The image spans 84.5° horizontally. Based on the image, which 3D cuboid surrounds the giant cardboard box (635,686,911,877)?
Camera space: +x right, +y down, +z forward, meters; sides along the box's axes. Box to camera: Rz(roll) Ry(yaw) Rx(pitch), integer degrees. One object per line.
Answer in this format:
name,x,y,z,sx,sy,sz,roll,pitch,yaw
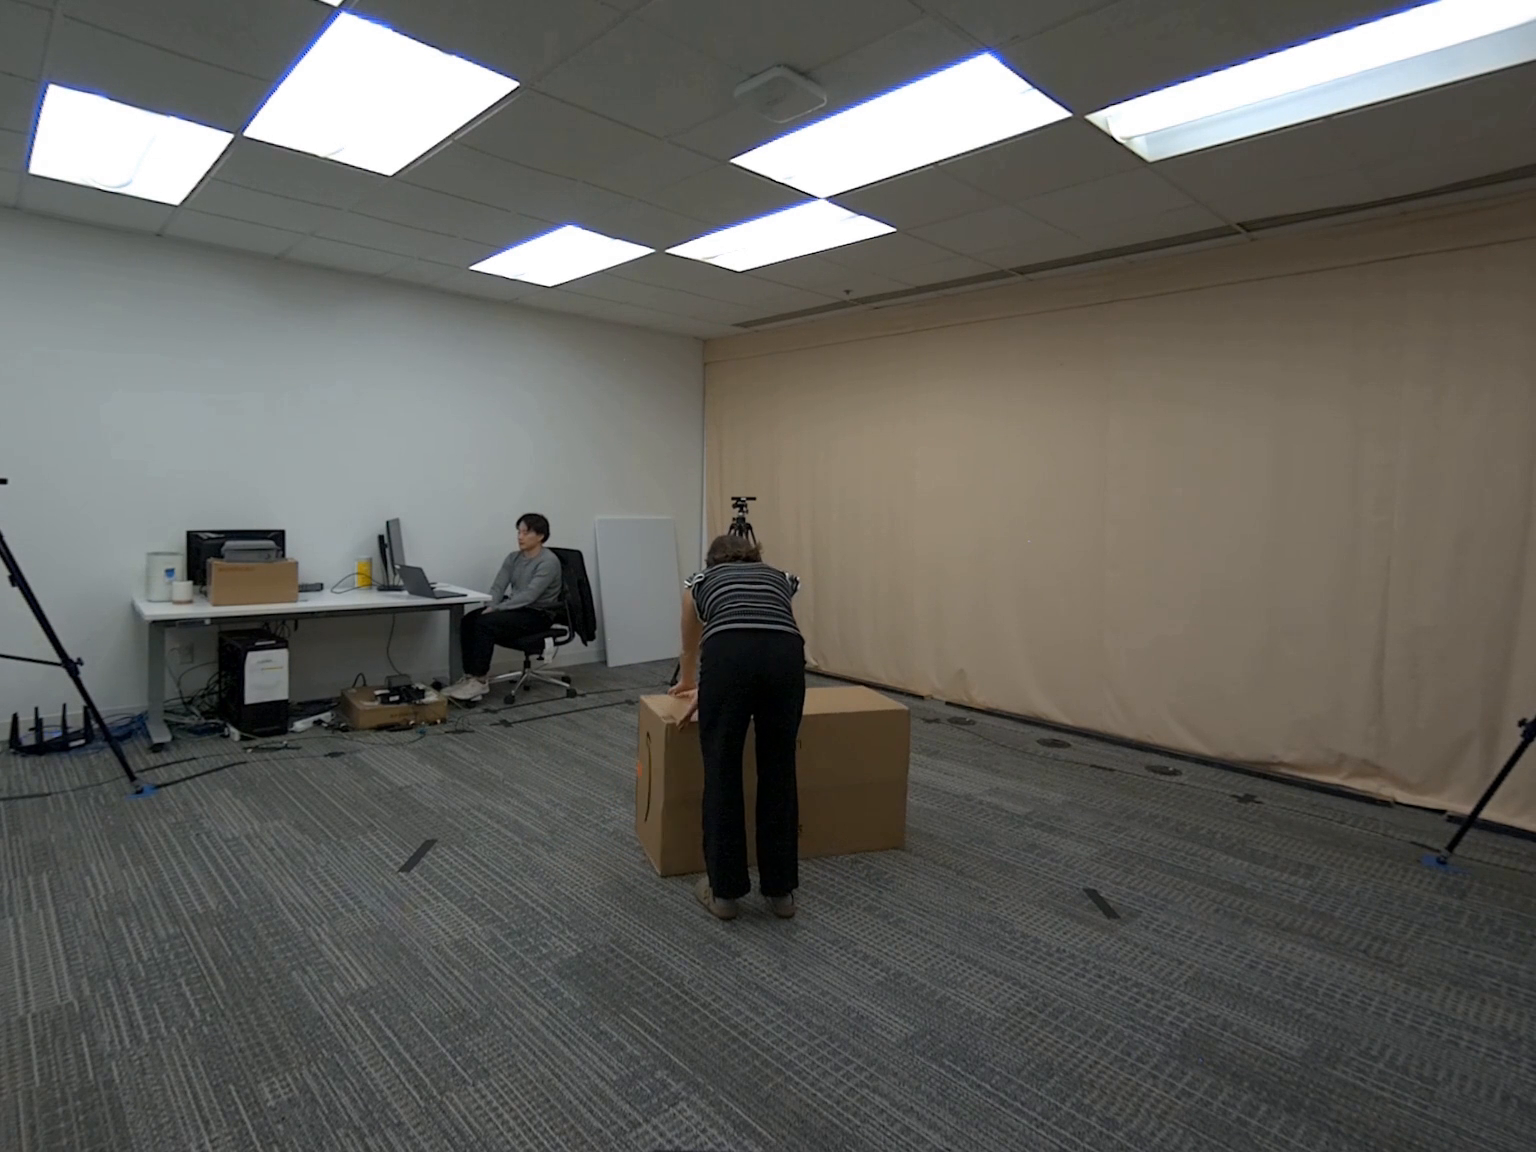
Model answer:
giant cardboard box,0.007,0.788,3.429,1.010,0.576,0.433,0,4,-20
